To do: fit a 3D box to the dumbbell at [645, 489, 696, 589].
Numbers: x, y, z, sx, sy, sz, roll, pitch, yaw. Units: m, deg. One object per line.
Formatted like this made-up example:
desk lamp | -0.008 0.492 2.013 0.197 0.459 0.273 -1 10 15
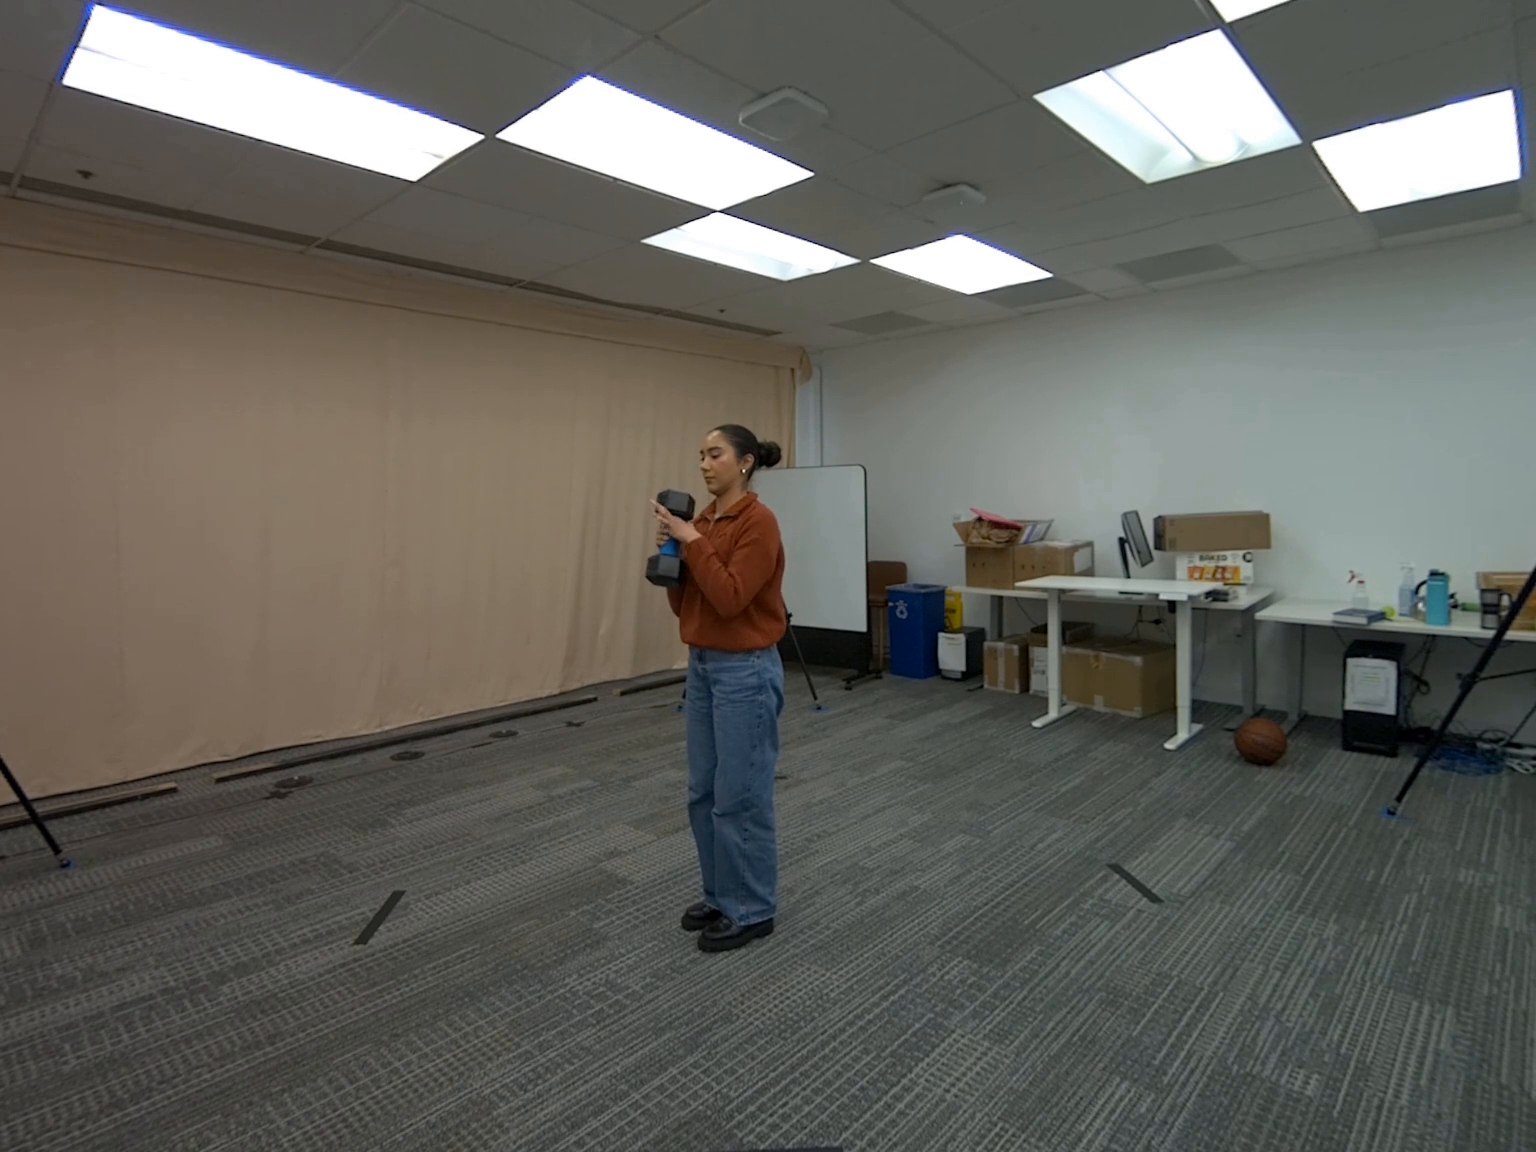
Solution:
dumbbell | -0.295 -0.117 2.600 0.122 0.296 0.108 8 -17 -5
